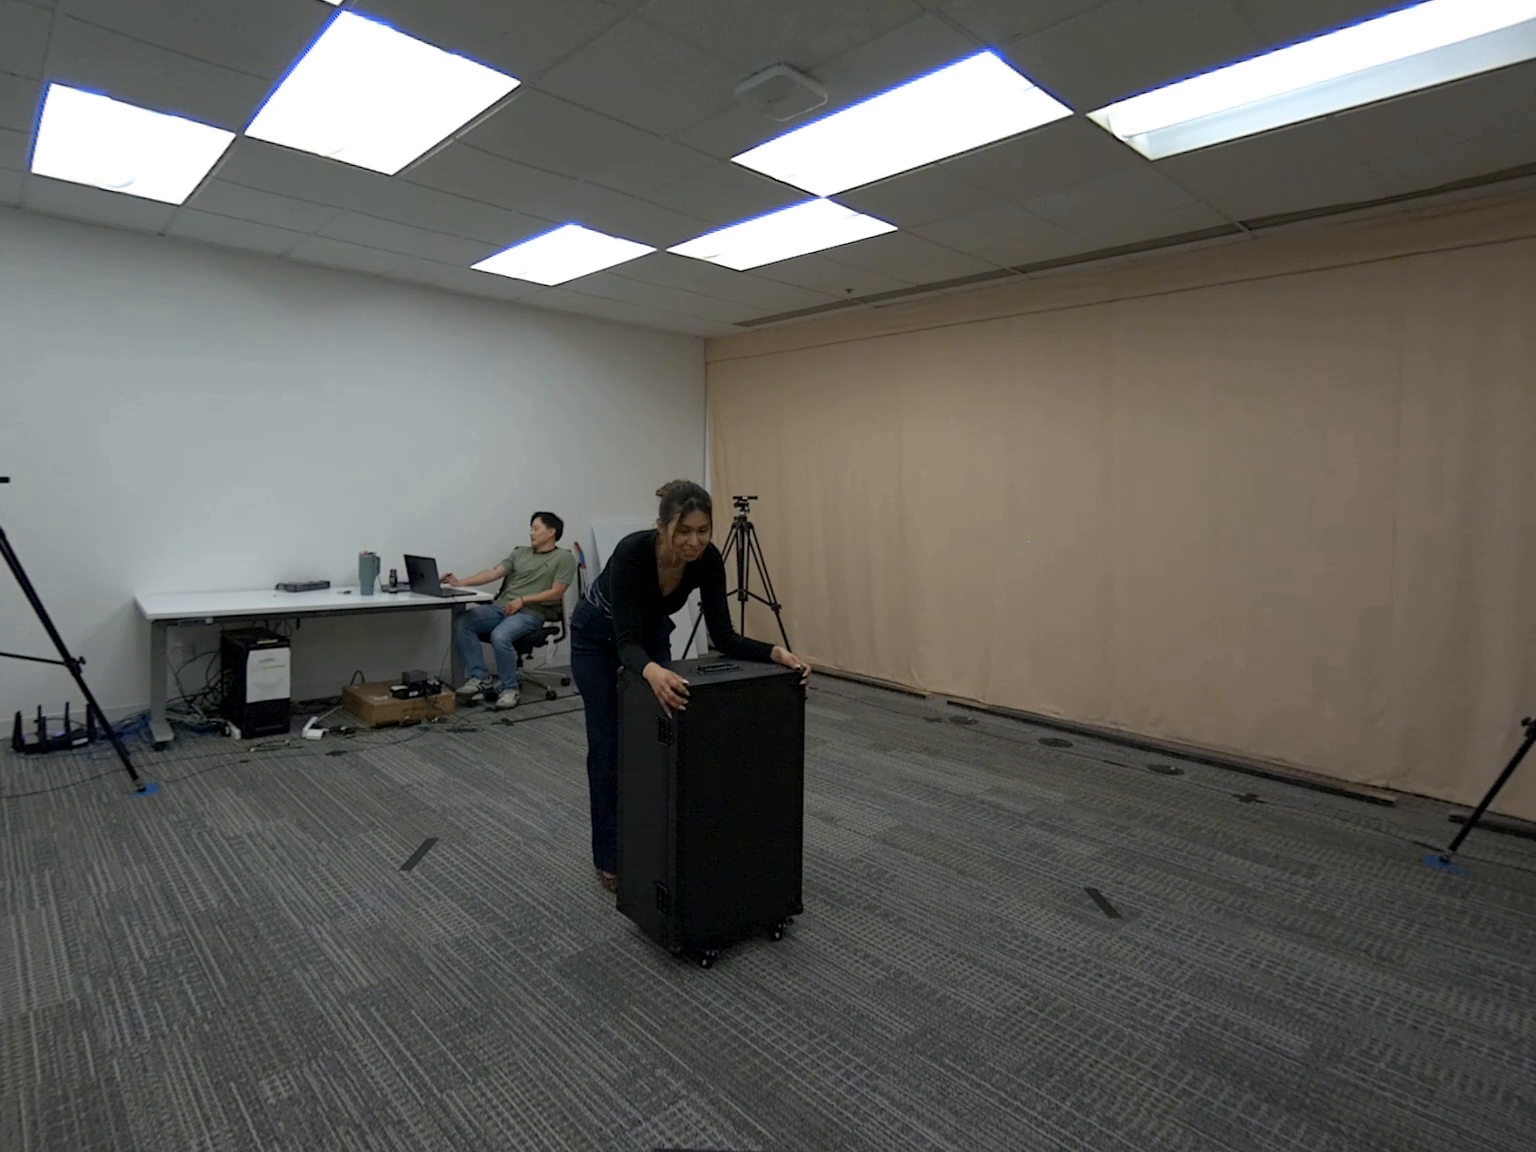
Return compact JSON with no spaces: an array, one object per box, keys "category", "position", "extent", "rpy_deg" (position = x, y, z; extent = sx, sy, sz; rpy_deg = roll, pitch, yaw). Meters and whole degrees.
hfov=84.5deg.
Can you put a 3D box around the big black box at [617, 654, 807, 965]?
[{"category":"big black box","position":[-0.194,0.718,2.668],"extent":[0.510,0.860,0.405],"rpy_deg":[-2,2,-37]}]
